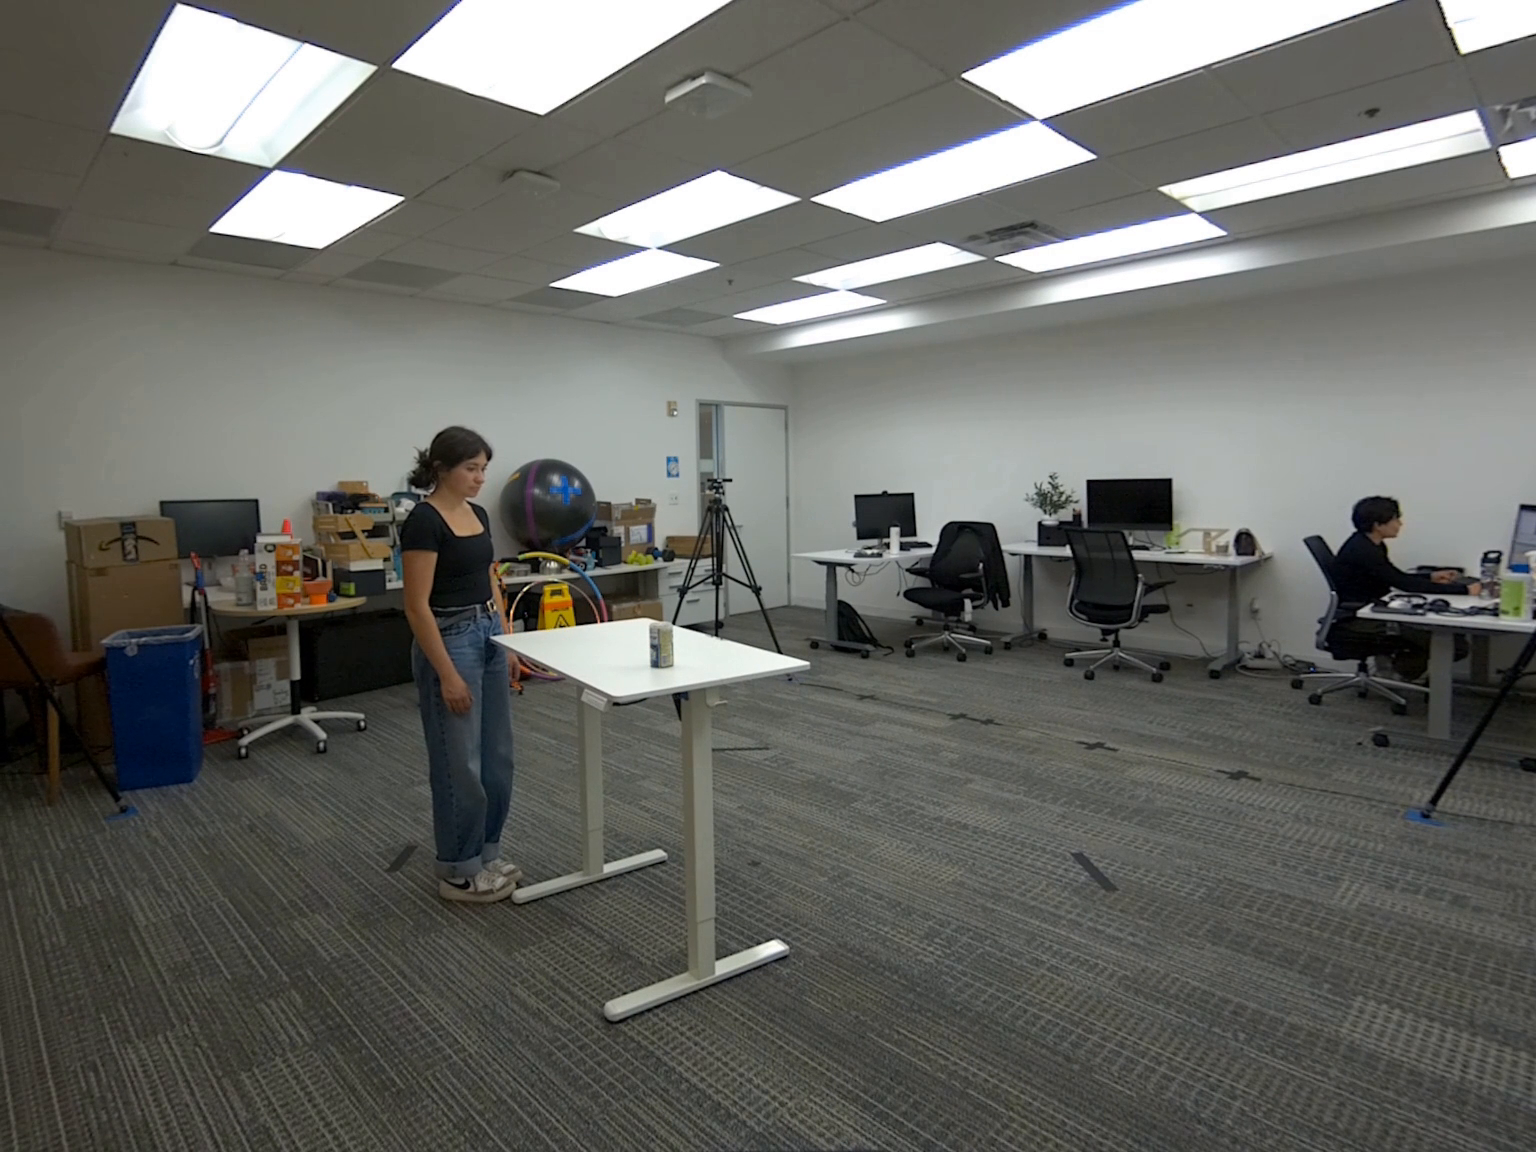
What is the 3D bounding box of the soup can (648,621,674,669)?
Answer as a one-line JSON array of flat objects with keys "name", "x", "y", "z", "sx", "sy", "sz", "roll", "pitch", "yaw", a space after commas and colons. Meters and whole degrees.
[{"name": "soup can", "x": -0.284, "y": 0.194, "z": 2.370, "sx": 0.067, "sy": 0.121, "sz": 0.067, "roll": -1, "pitch": 2, "yaw": -2}]
